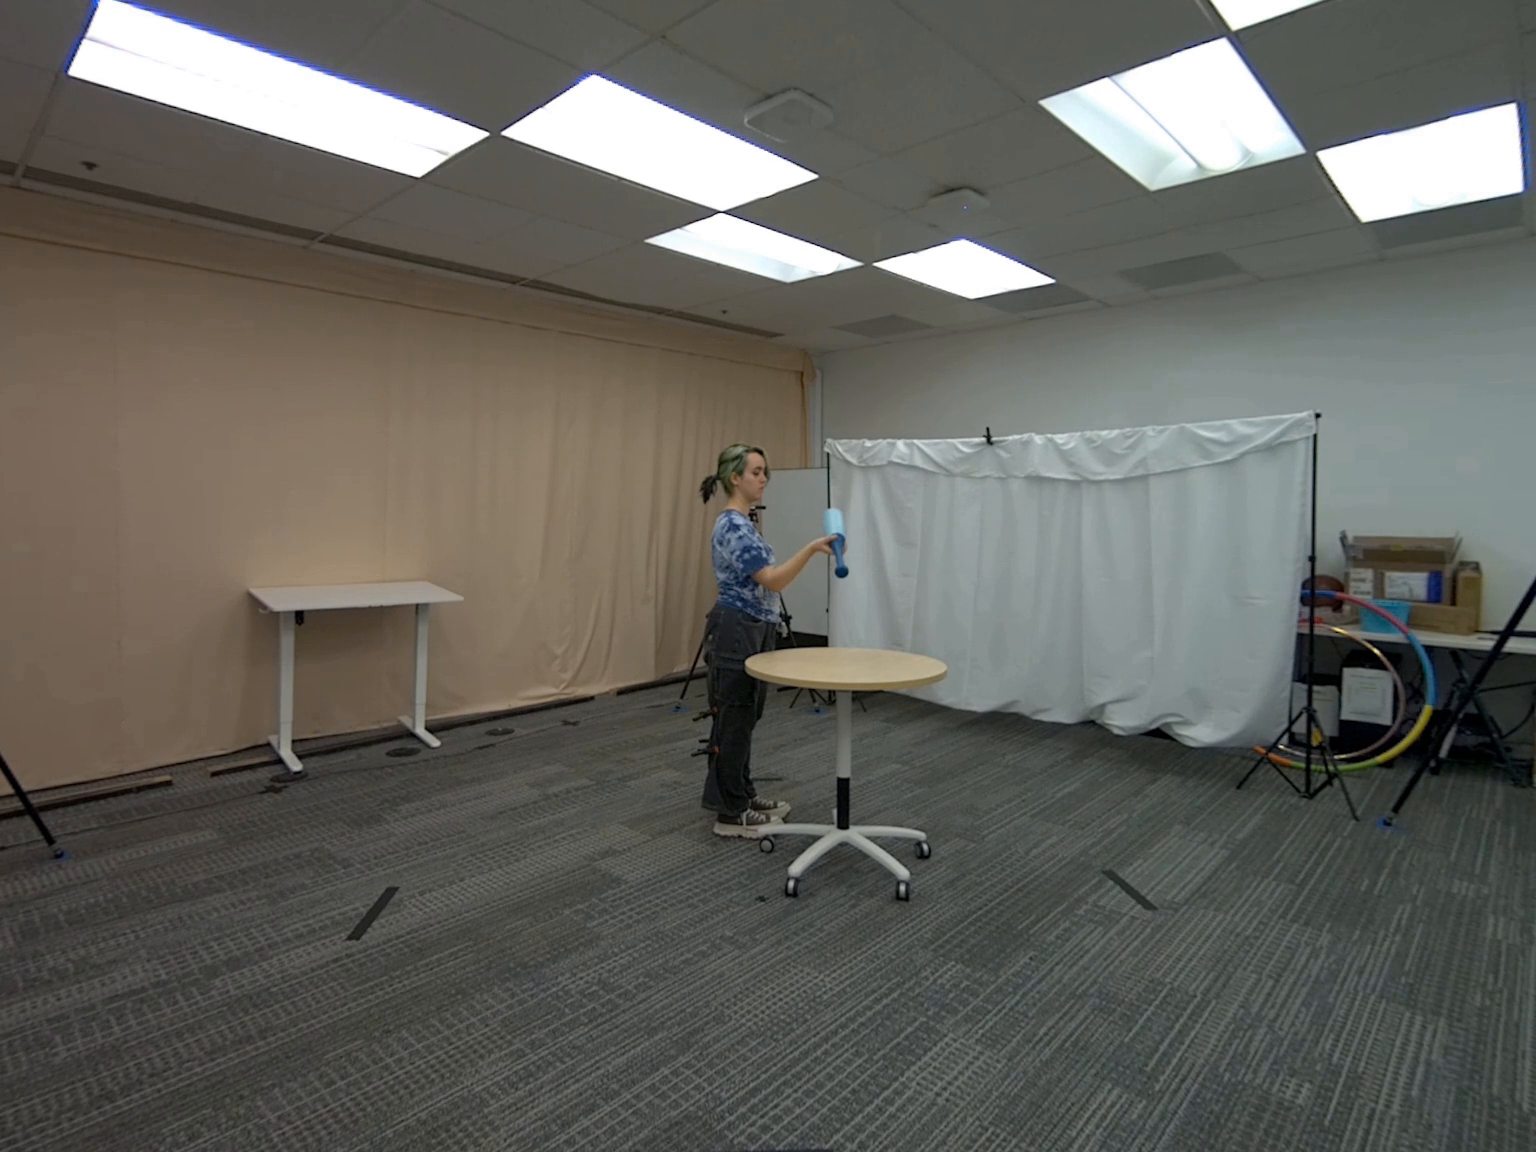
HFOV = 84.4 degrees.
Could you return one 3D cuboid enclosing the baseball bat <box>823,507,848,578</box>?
[{"bbox_3d":[0.274,-0.122,3.253,0.089,0.087,0.549,0,27,2],"label":"baseball bat"}]
